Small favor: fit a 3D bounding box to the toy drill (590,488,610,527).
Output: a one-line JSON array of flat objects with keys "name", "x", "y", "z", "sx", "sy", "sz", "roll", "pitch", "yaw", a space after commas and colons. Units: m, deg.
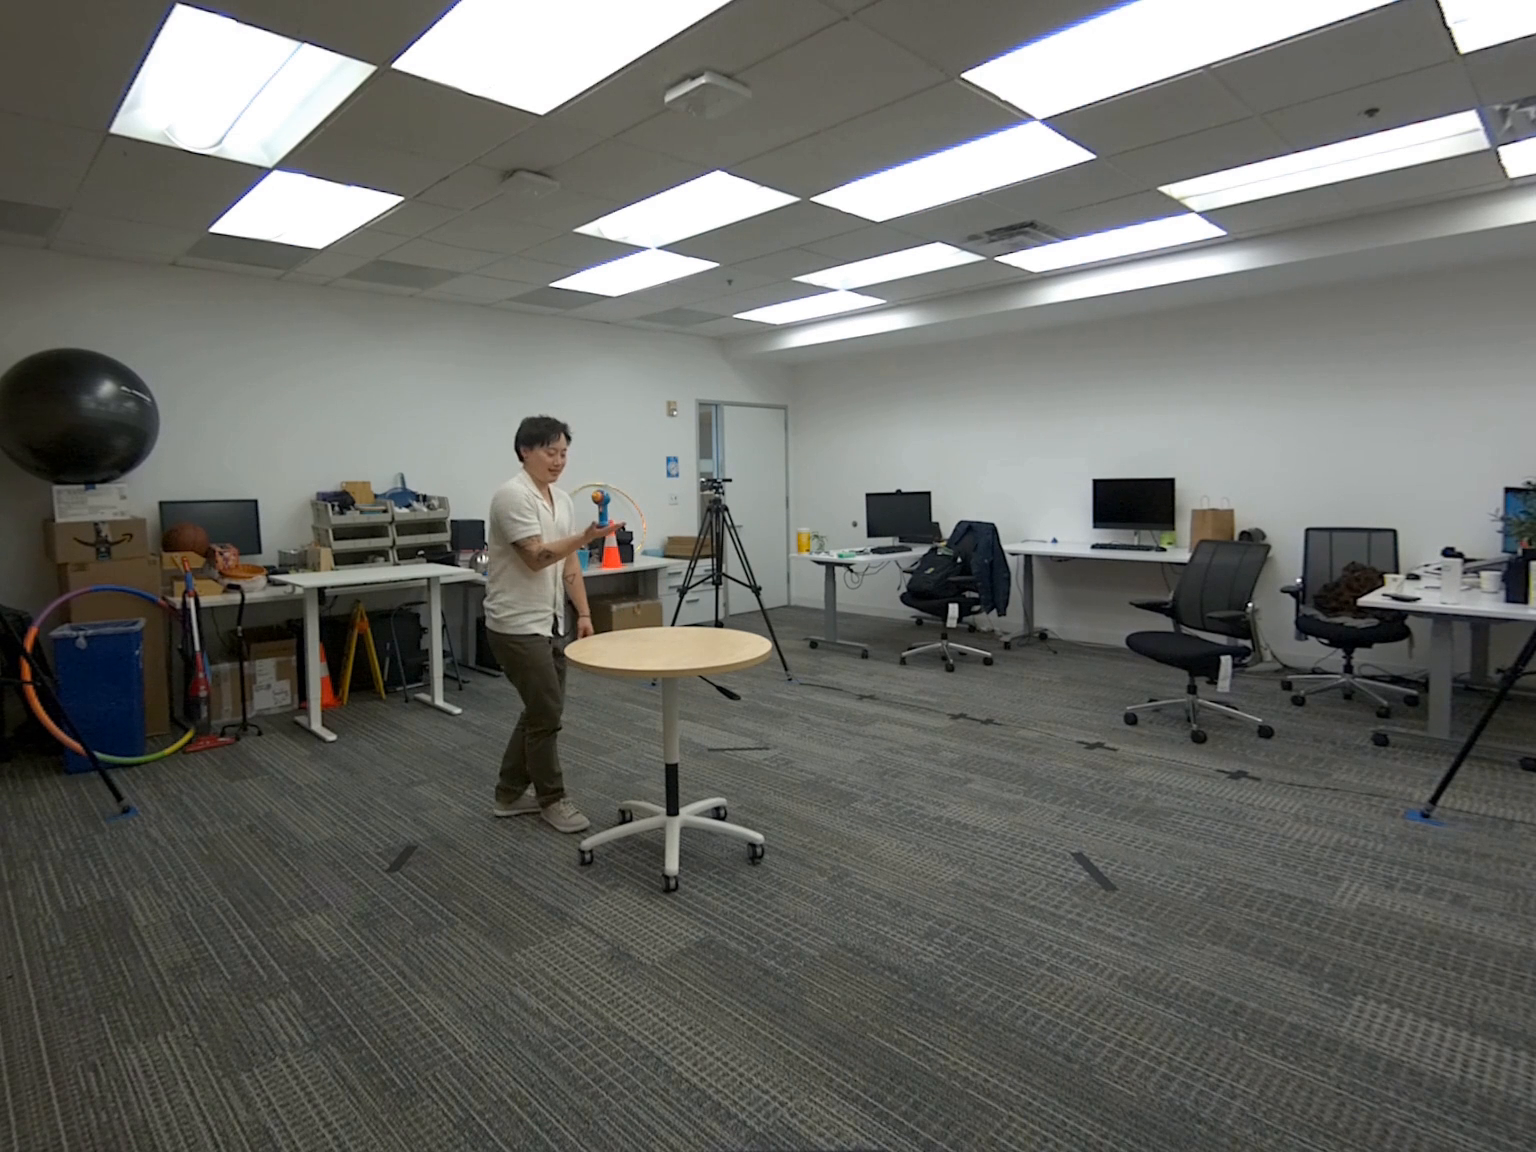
[{"name": "toy drill", "x": -0.635, "y": -0.257, "z": 3.209, "sx": 0.061, "sy": 0.146, "sz": 0.168, "roll": 1, "pitch": -1, "yaw": 5}]
